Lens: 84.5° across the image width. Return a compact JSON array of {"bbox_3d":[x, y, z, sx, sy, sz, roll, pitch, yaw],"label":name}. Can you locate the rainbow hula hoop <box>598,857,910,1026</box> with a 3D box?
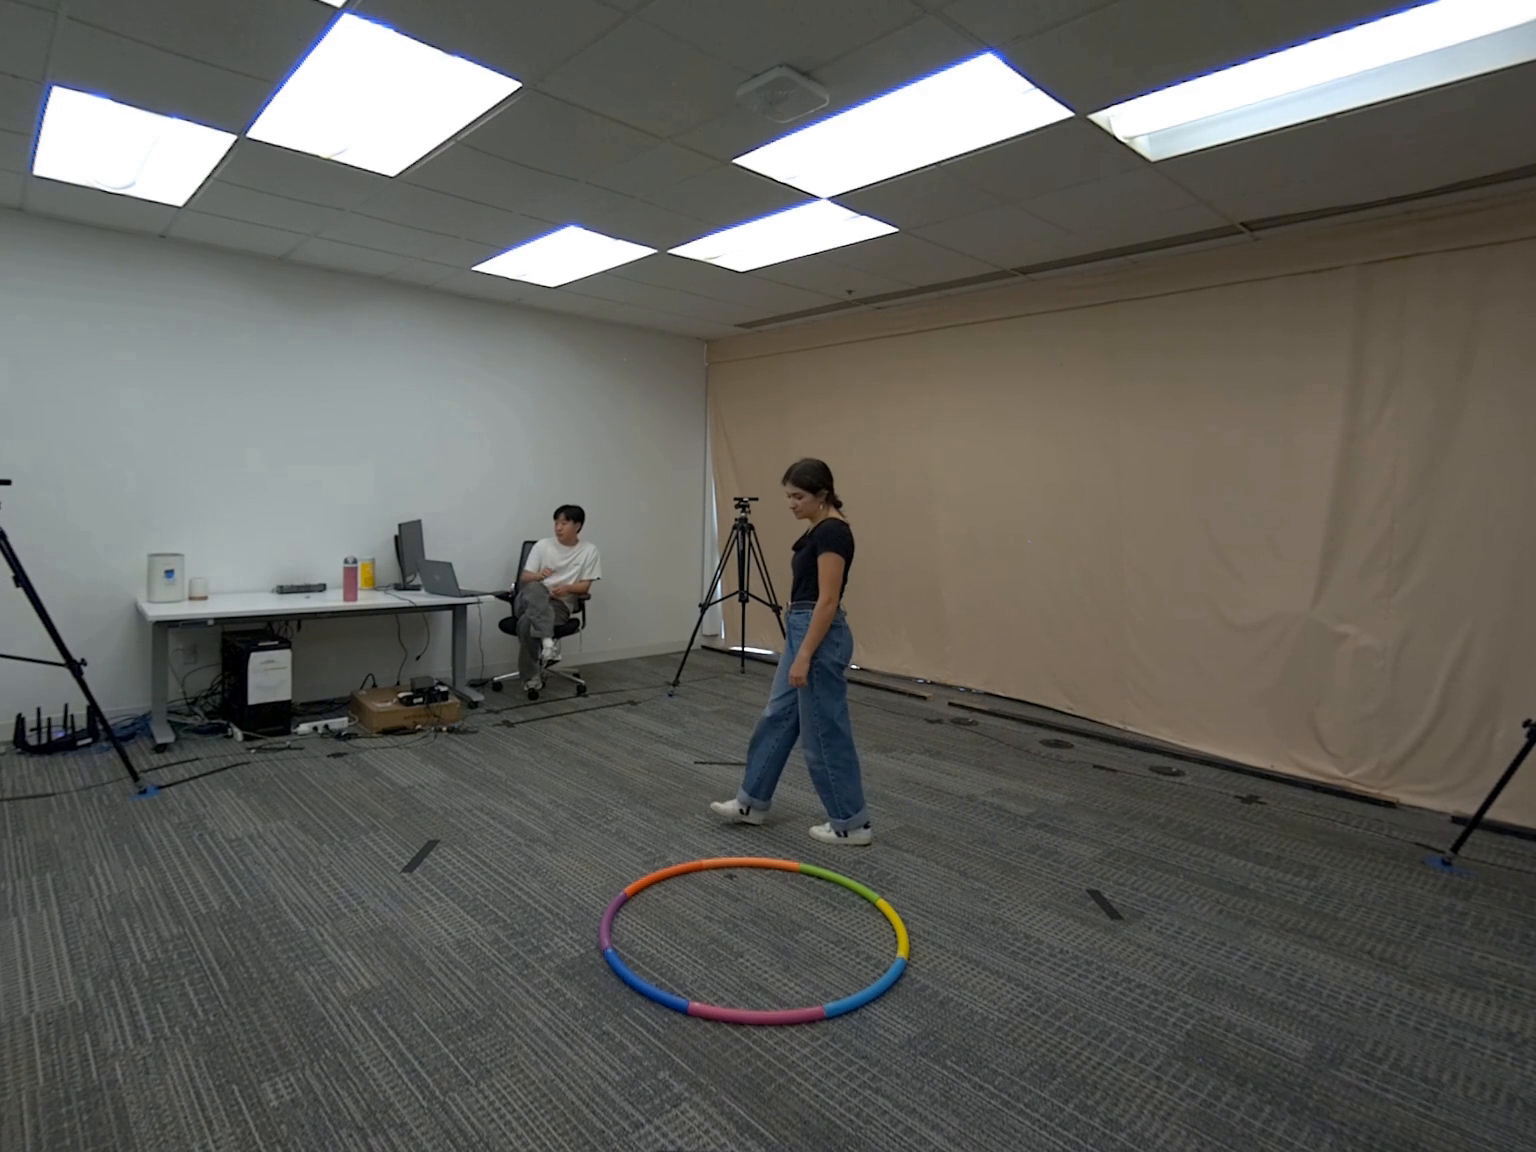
[{"bbox_3d":[-0.053,1.116,2.709,0.978,0.035,0.982,1,5,-1],"label":"rainbow hula hoop"}]
